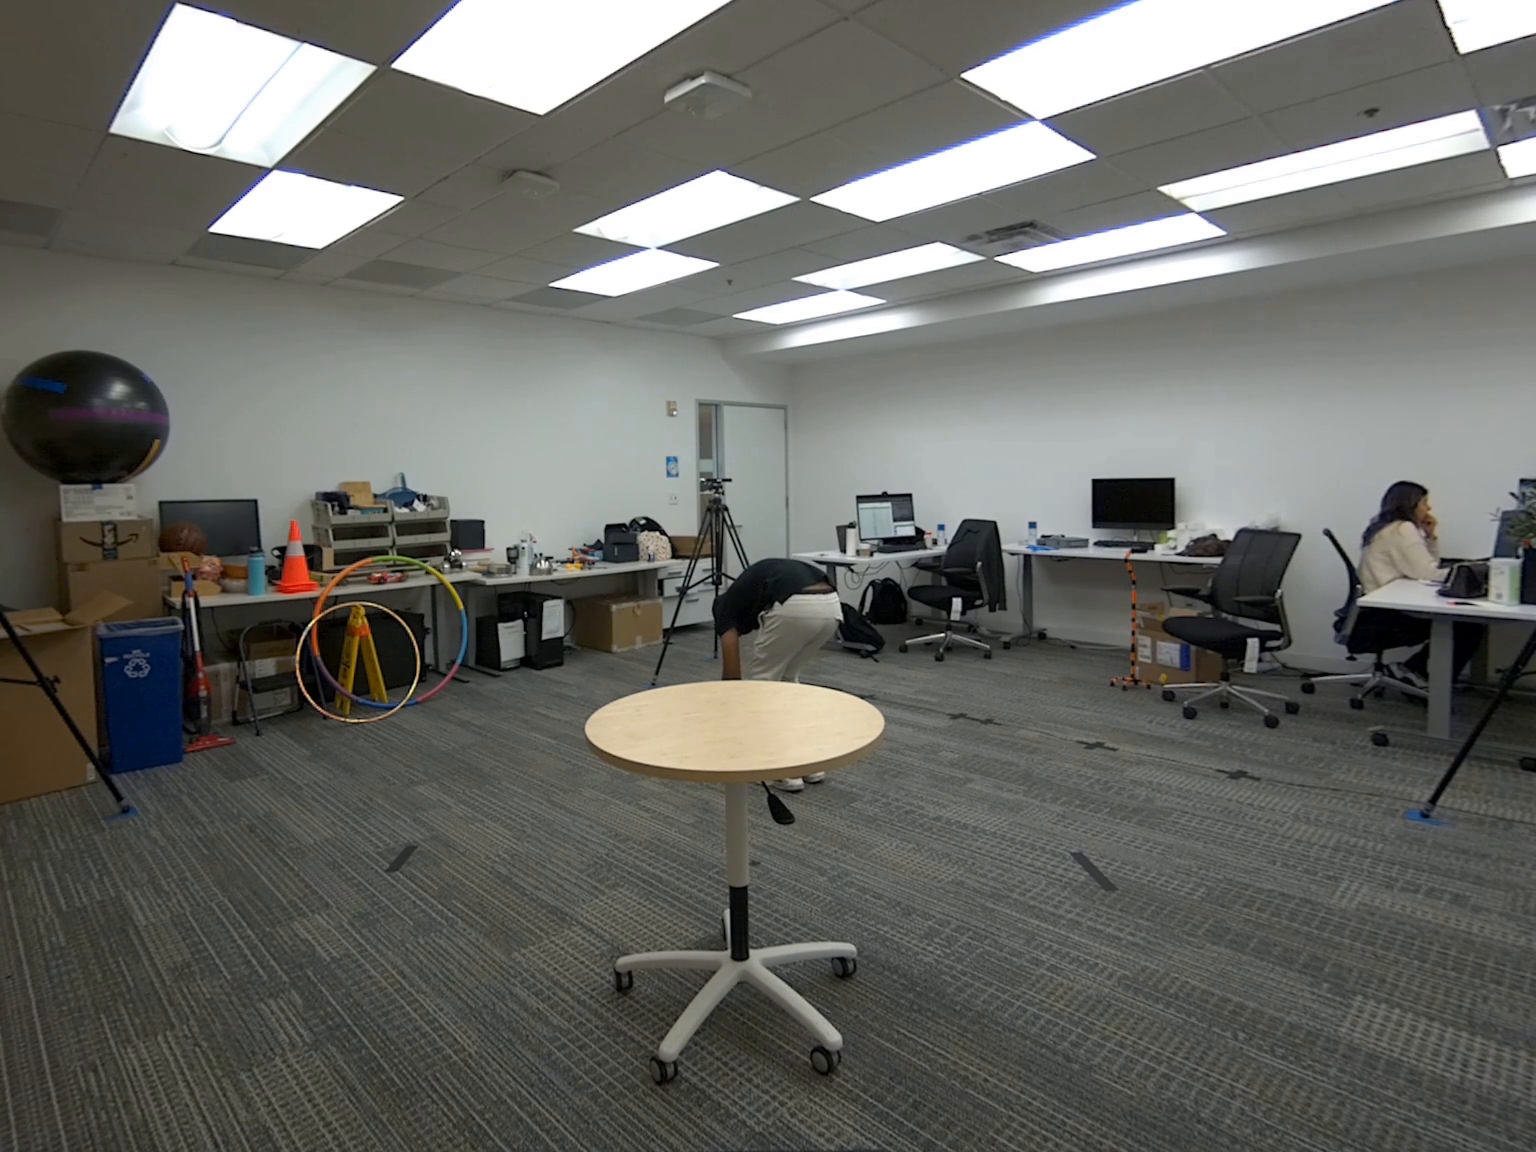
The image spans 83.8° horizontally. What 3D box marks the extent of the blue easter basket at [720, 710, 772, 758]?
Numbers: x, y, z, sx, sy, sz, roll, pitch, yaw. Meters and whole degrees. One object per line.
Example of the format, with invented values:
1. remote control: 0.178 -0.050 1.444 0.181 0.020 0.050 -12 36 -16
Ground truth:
1. blue easter basket: -0.115 0.780 4.257 0.243 0.155 0.245 -1 6 -2
